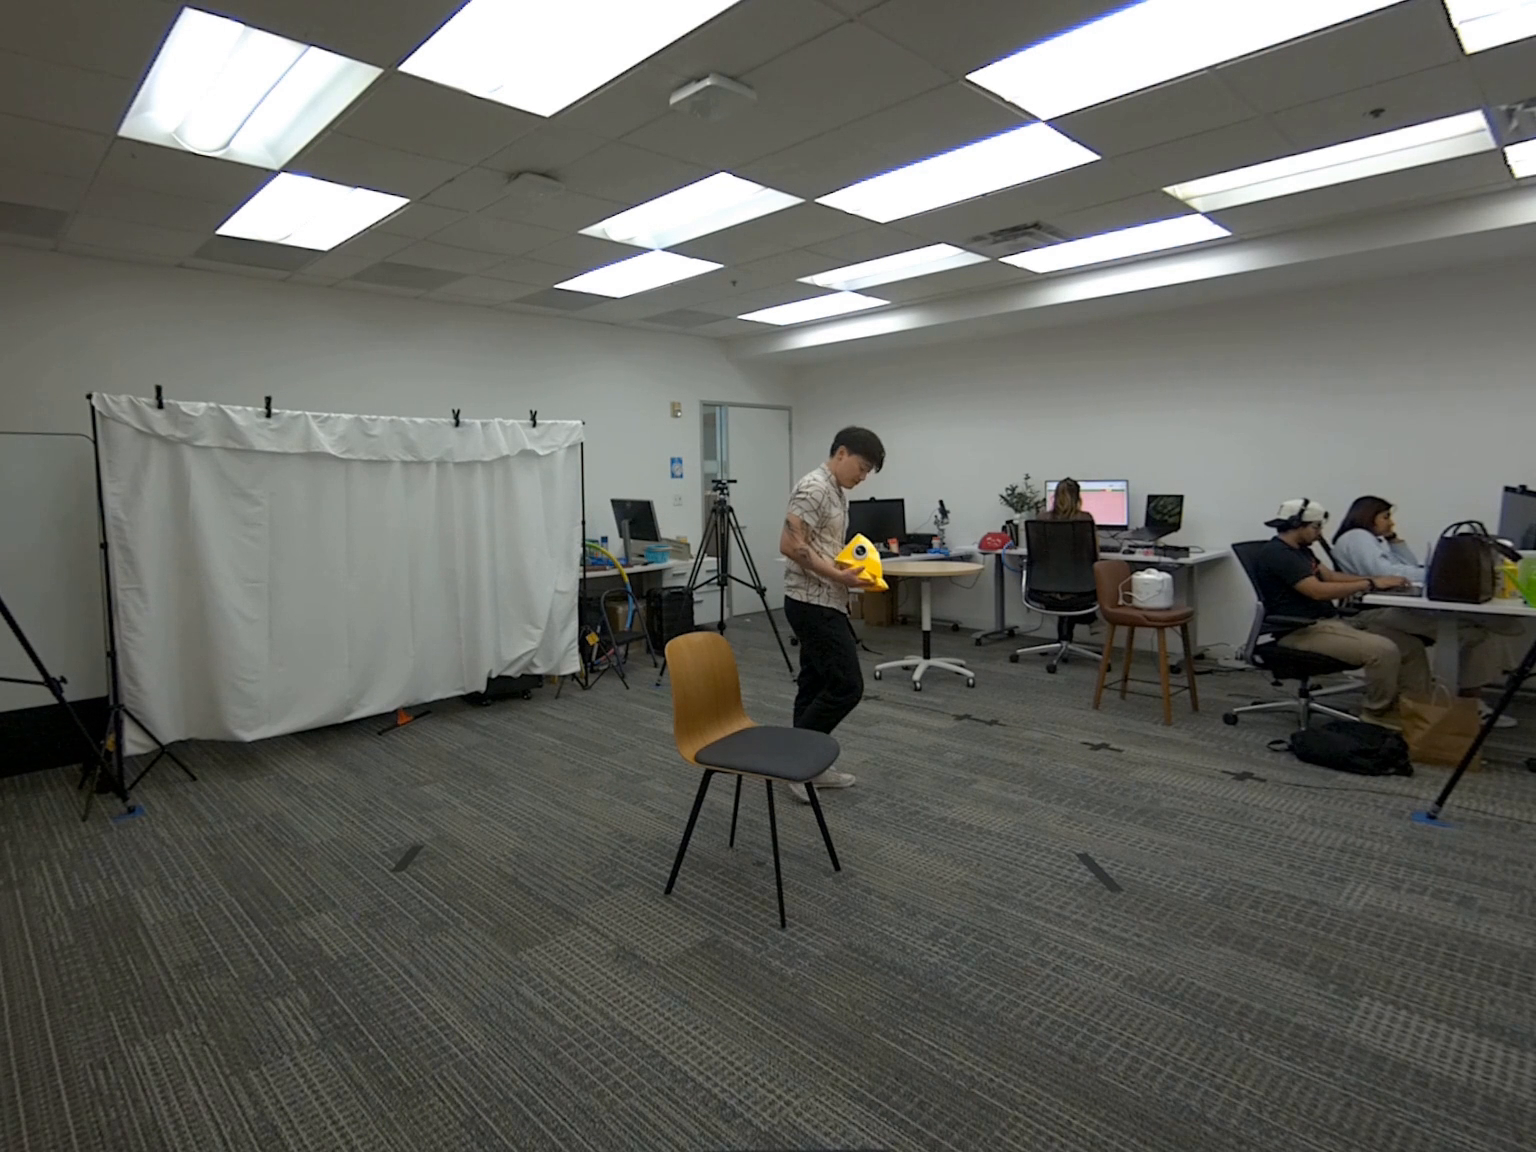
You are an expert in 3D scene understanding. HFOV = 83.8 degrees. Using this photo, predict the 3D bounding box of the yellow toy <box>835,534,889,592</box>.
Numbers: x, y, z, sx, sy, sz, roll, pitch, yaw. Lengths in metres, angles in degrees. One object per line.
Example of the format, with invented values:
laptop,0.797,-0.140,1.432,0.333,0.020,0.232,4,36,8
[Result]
yellow toy,0.412,-0.072,3.671,0.198,0.233,0.197,-3,-20,43
